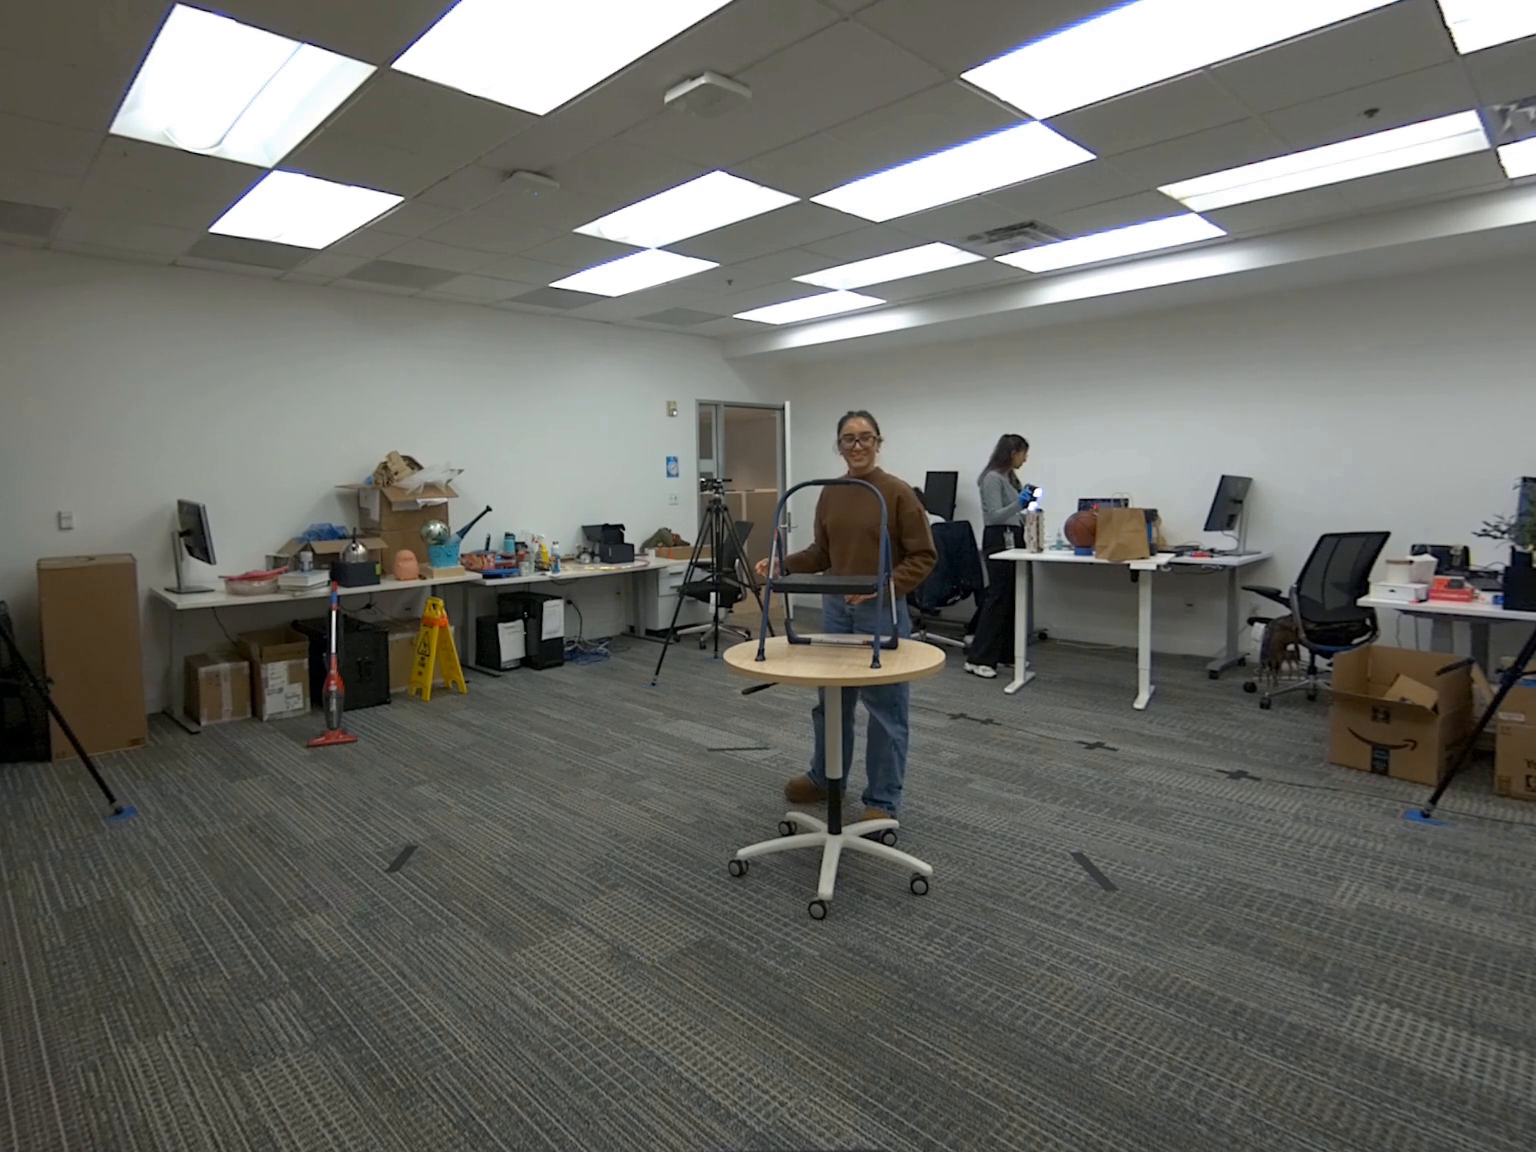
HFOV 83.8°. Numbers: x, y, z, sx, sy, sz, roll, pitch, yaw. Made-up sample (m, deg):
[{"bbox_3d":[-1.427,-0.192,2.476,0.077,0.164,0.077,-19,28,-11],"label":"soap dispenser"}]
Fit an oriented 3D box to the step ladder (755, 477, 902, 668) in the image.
[{"bbox_3d":[0.209,-0.027,2.947,0.439,0.604,0.343,0,4,22],"label":"step ladder"}]
